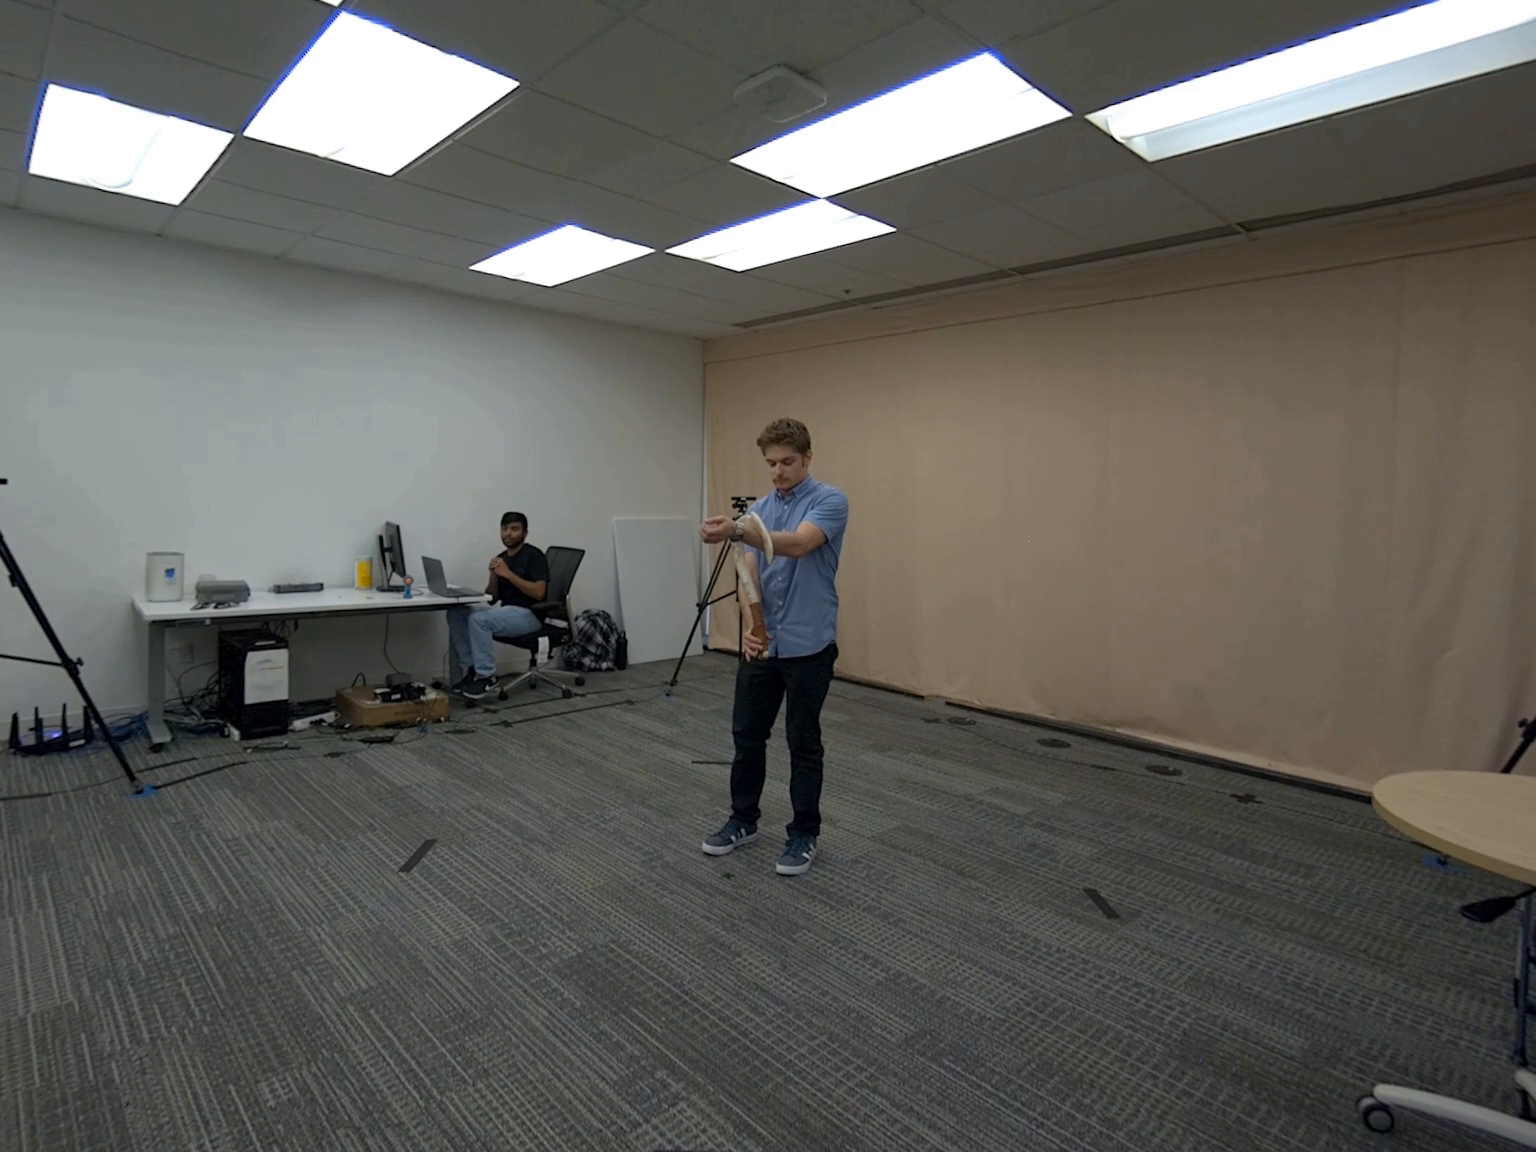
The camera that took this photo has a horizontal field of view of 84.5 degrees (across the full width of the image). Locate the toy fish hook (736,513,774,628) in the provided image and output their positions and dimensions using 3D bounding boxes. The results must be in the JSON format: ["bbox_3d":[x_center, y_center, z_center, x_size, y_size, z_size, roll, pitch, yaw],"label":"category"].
[{"bbox_3d":[-0.039,0.035,2.913,0.047,0.509,0.227,-7,-7,-30],"label":"toy fish hook"}]
